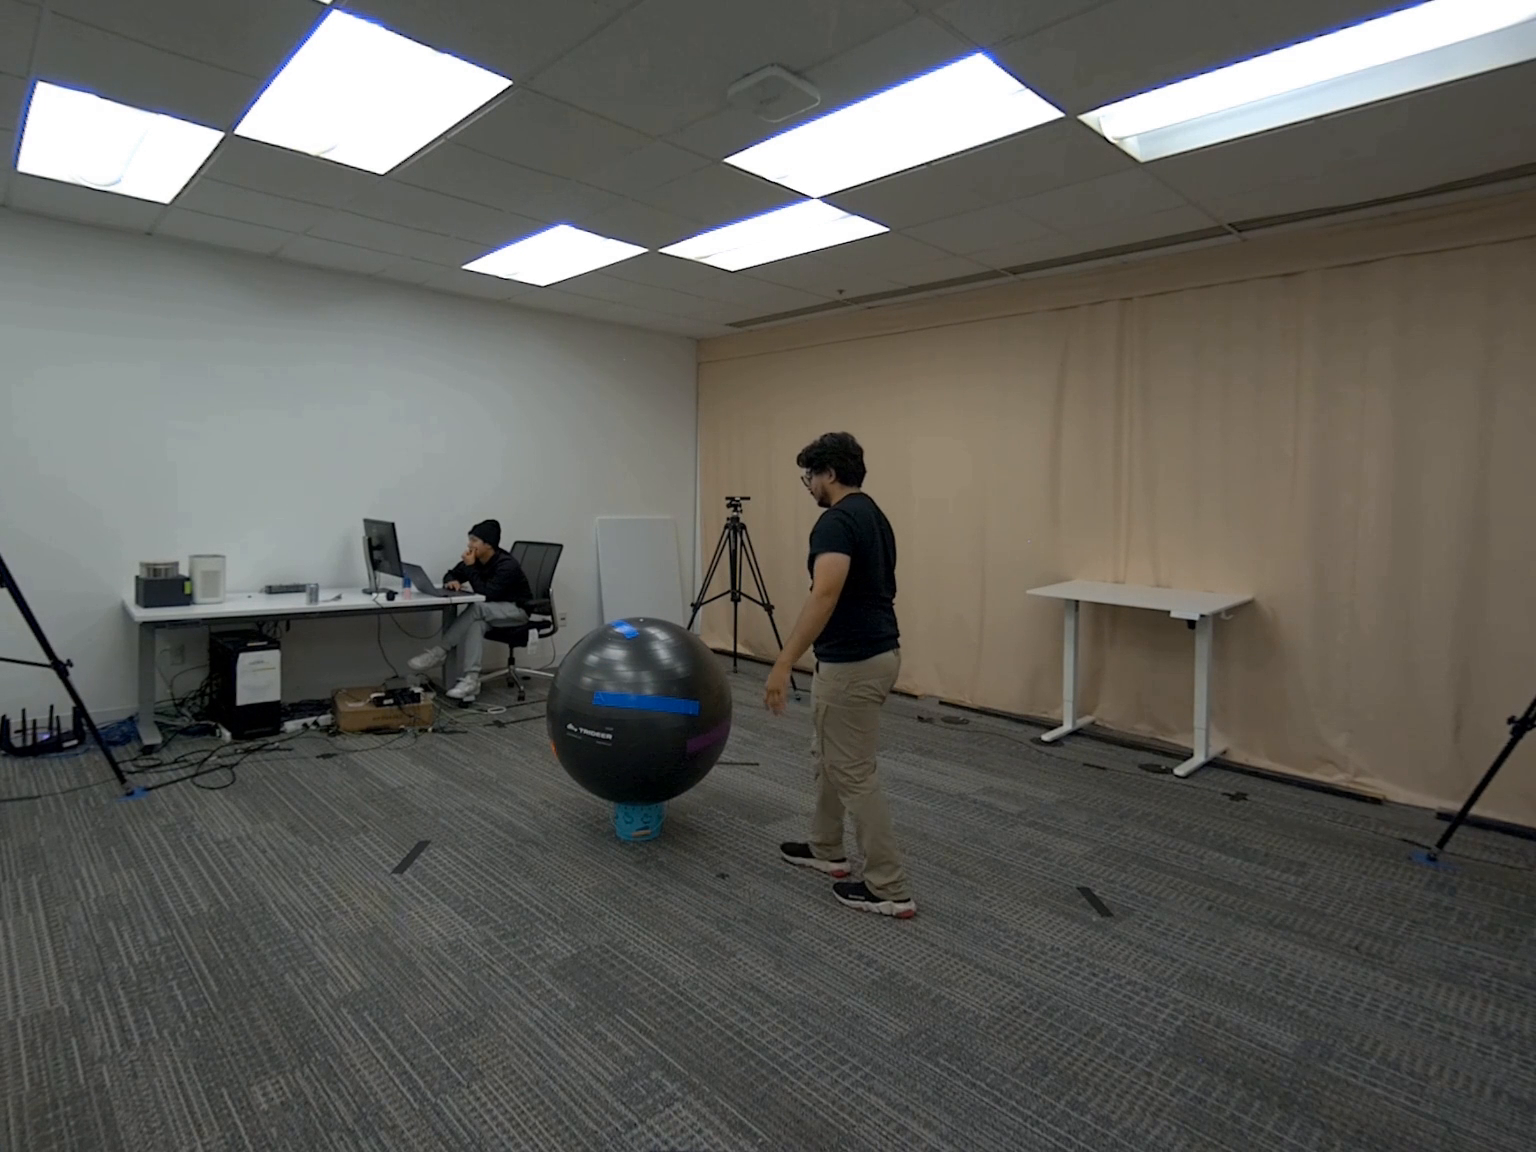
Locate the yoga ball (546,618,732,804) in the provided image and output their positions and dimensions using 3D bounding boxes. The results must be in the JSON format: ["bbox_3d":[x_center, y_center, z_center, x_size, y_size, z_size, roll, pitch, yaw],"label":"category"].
[{"bbox_3d":[-0.539,0.554,3.474,0.757,0.756,0.761,1,4,-1],"label":"yoga ball"}]
